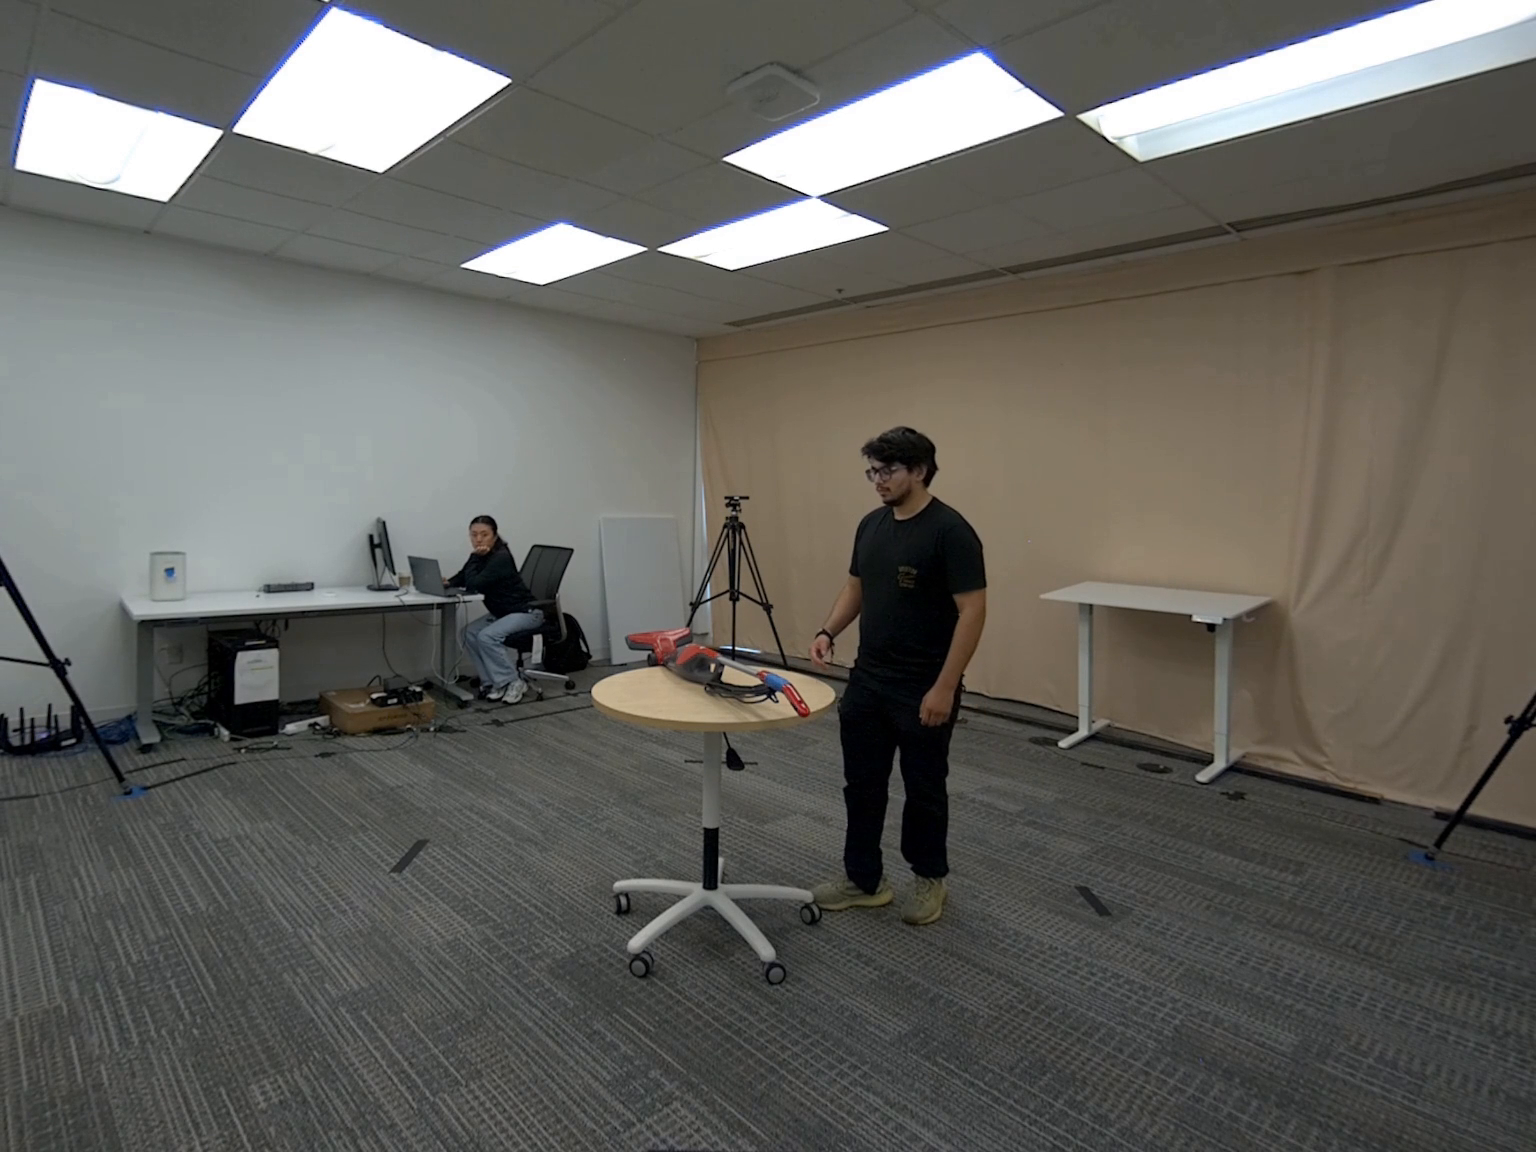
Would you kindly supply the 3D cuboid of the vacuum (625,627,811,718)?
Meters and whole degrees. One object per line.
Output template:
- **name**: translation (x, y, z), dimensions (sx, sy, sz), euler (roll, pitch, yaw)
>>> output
- **vacuum**: translation (-0.138, 0.315, 2.579), dimensions (0.248, 0.143, 1.071), euler (-7, 7, -27)
